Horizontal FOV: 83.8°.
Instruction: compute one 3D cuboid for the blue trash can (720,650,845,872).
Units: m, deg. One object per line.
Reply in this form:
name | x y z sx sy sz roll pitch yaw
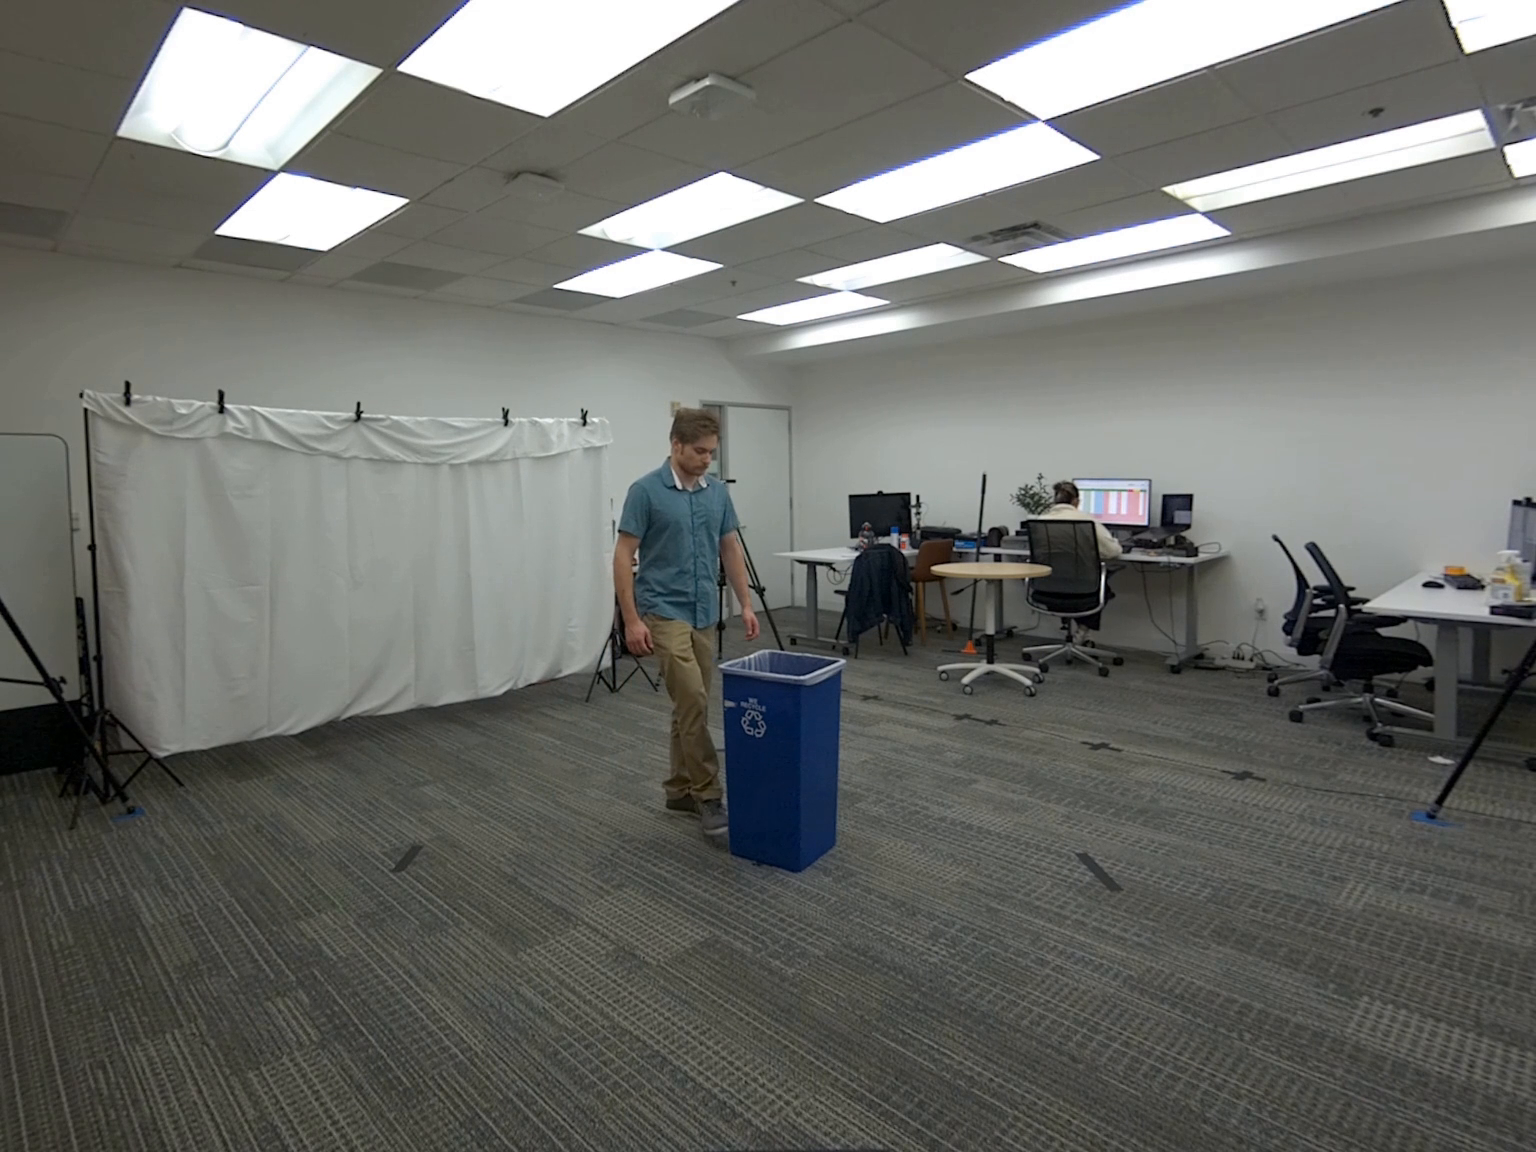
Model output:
blue trash can | 0.067 0.676 3.204 0.384 0.711 0.369 2 5 33
